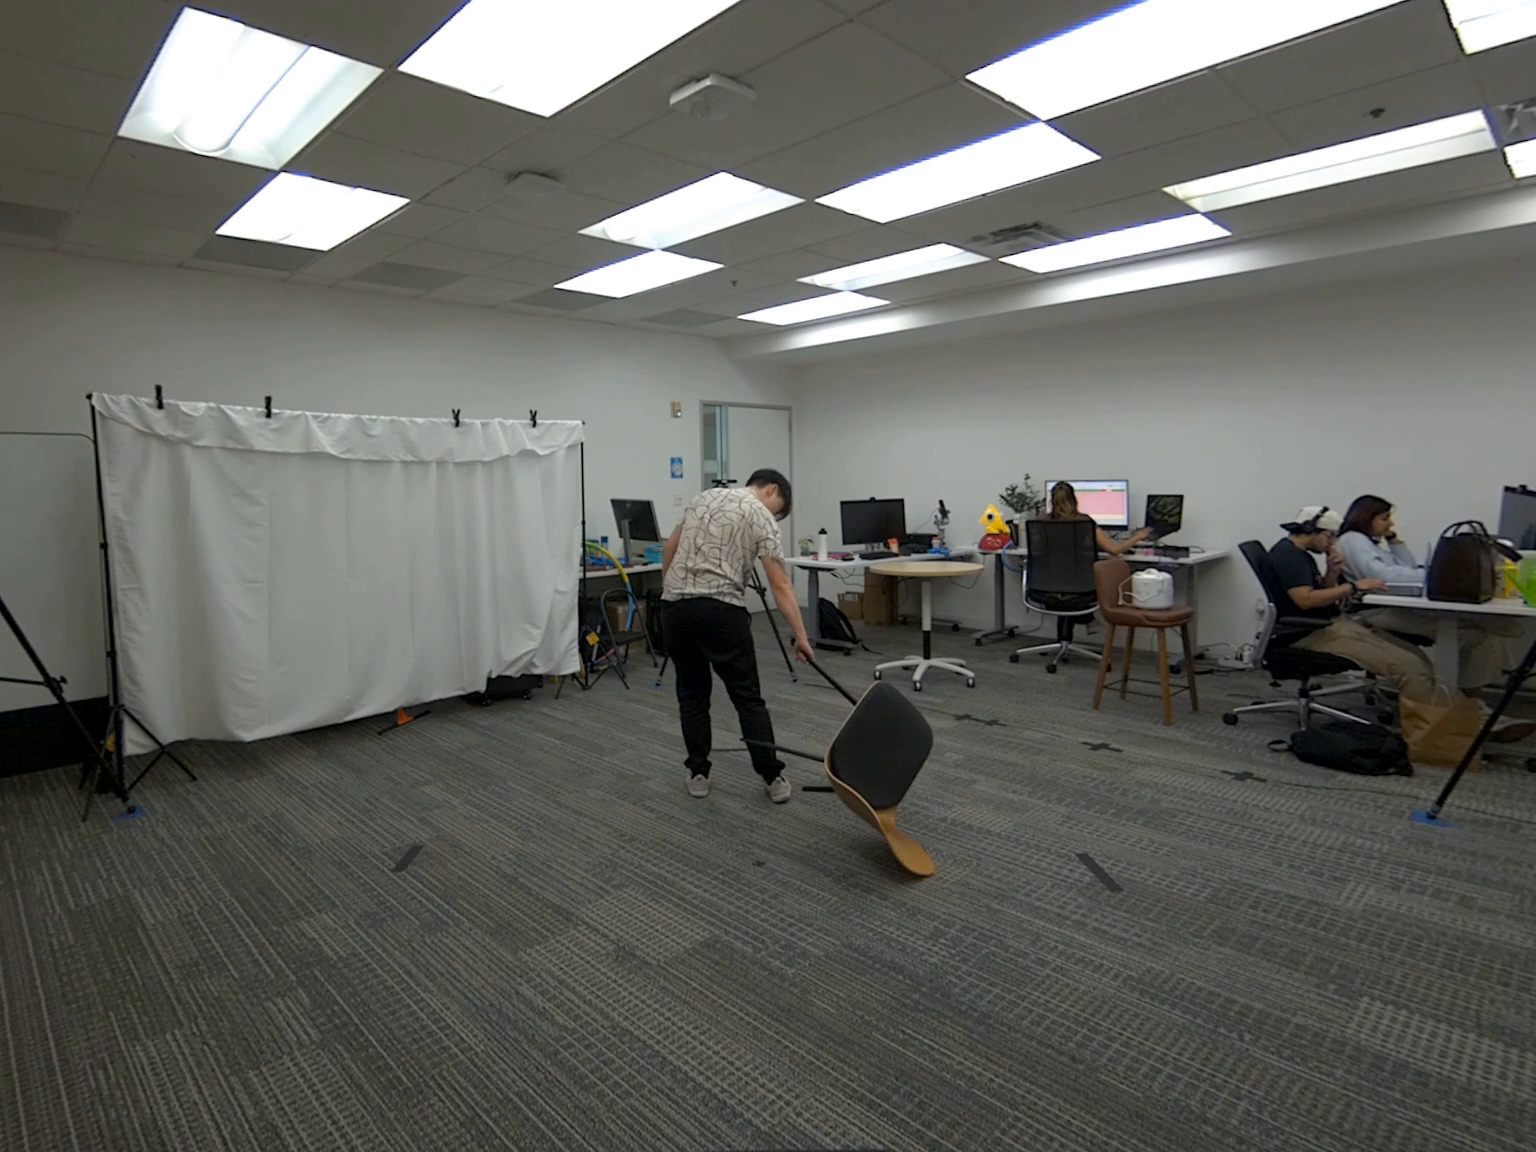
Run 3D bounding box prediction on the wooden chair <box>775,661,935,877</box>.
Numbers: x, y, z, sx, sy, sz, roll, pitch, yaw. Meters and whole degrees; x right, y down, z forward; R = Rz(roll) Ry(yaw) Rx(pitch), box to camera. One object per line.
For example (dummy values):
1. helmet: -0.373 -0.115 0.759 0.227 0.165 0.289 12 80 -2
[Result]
1. wooden chair: 0.394 0.698 3.318 0.462 0.524 0.906 44 -12 -31
